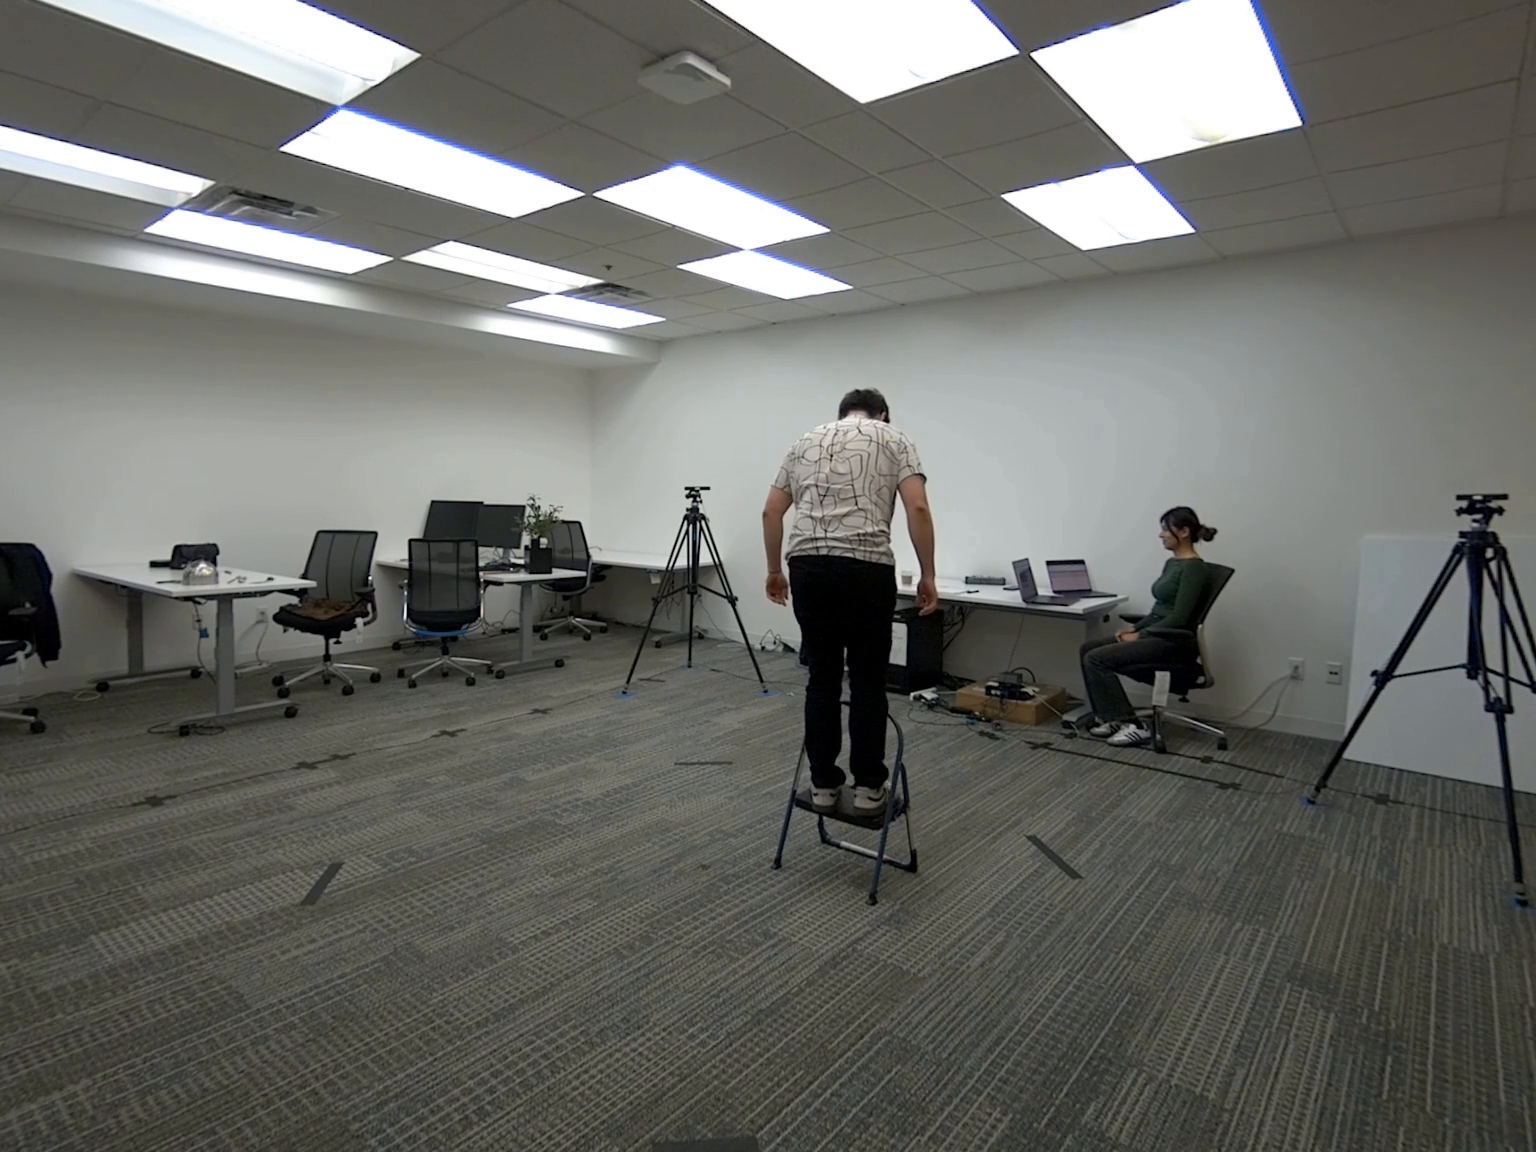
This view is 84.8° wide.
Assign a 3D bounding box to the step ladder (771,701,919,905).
[{"bbox_3d":[0.283,0.769,3.106,0.445,0.605,0.339,3,3,37],"label":"step ladder"}]
